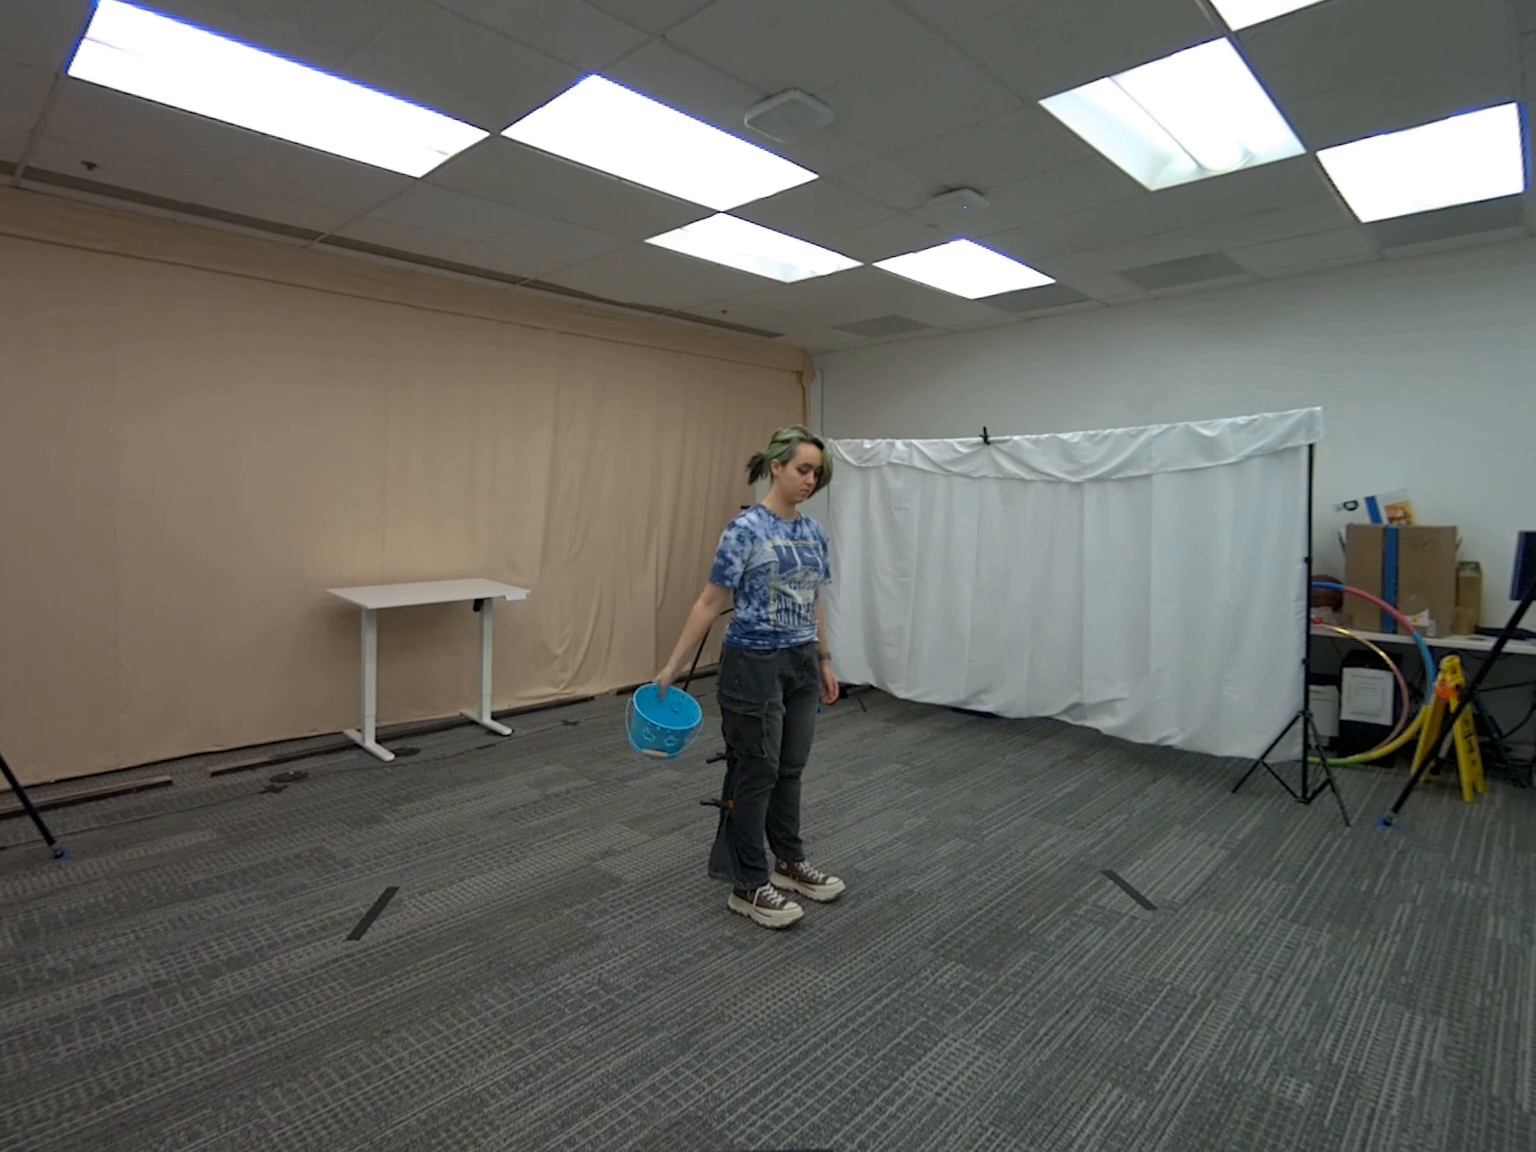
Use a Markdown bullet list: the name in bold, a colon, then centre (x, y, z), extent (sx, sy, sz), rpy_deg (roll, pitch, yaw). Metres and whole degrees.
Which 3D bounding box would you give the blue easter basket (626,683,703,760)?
- **blue easter basket**: centre (-0.339, 0.474, 2.742), extent (0.242, 0.155, 0.247), rpy_deg (14, 21, -7)
